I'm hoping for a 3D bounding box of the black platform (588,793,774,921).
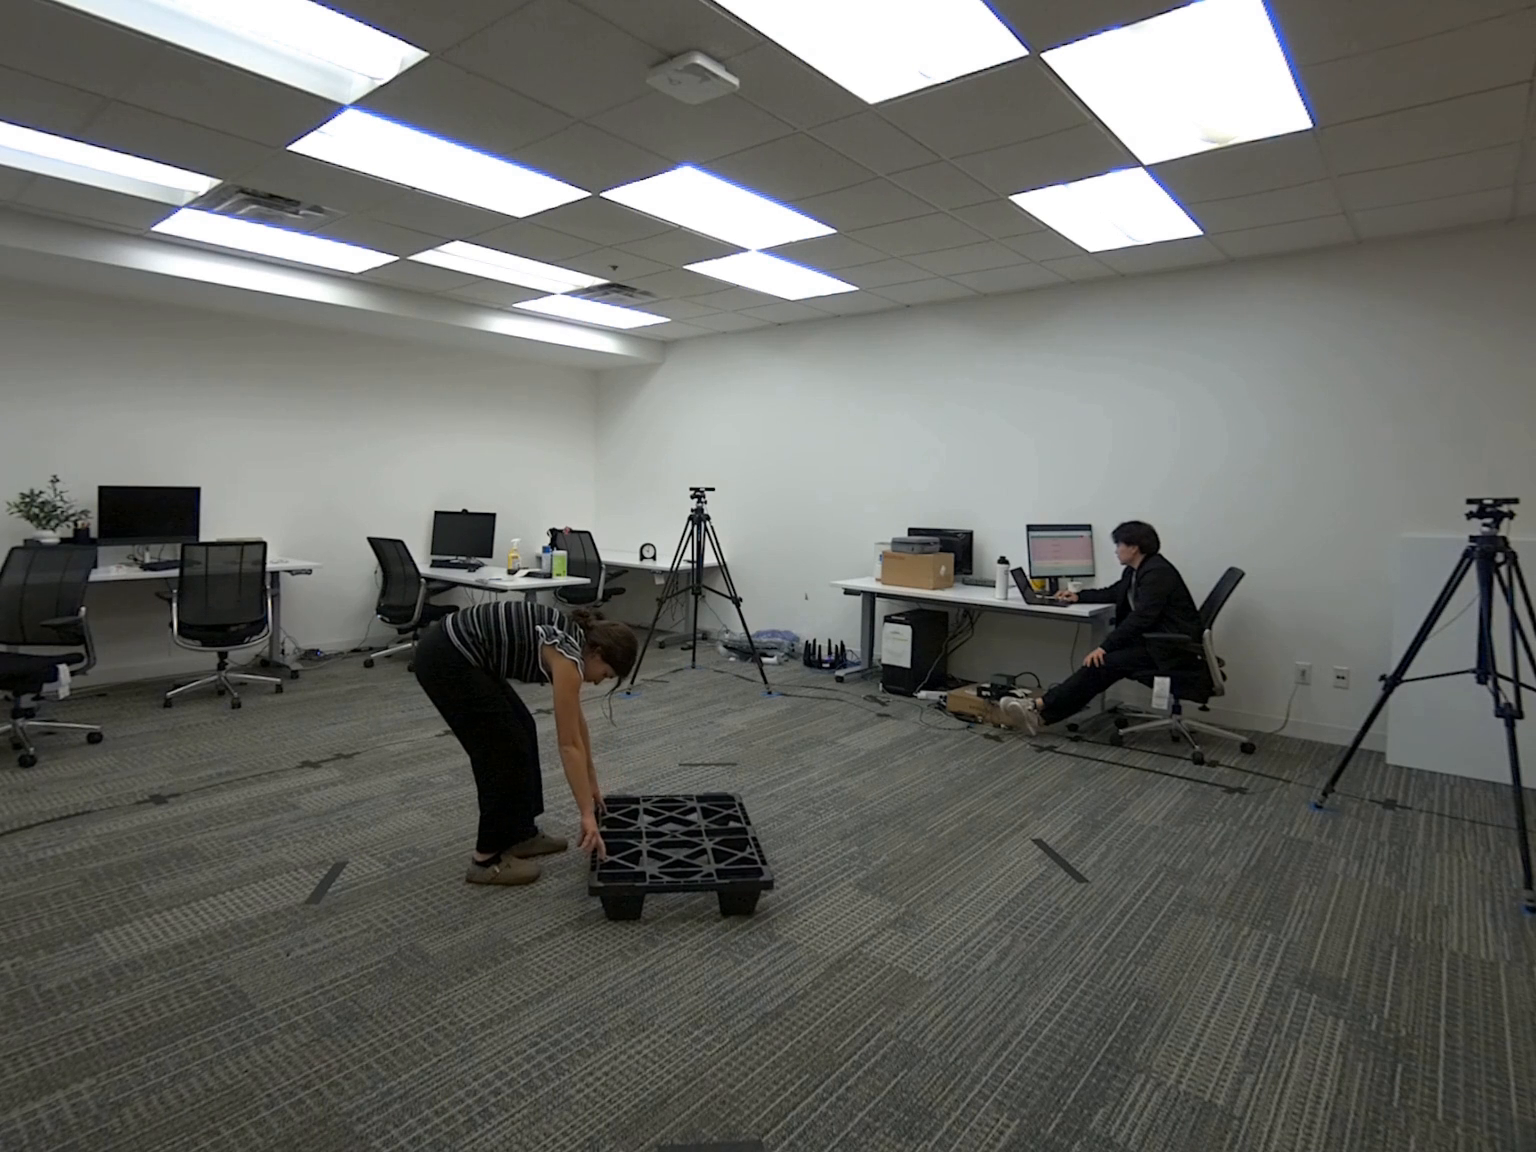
[{"bbox_3d":[-0.352,0.994,3.101,0.600,0.143,0.816,1,6,-9],"label":"black platform"}]
